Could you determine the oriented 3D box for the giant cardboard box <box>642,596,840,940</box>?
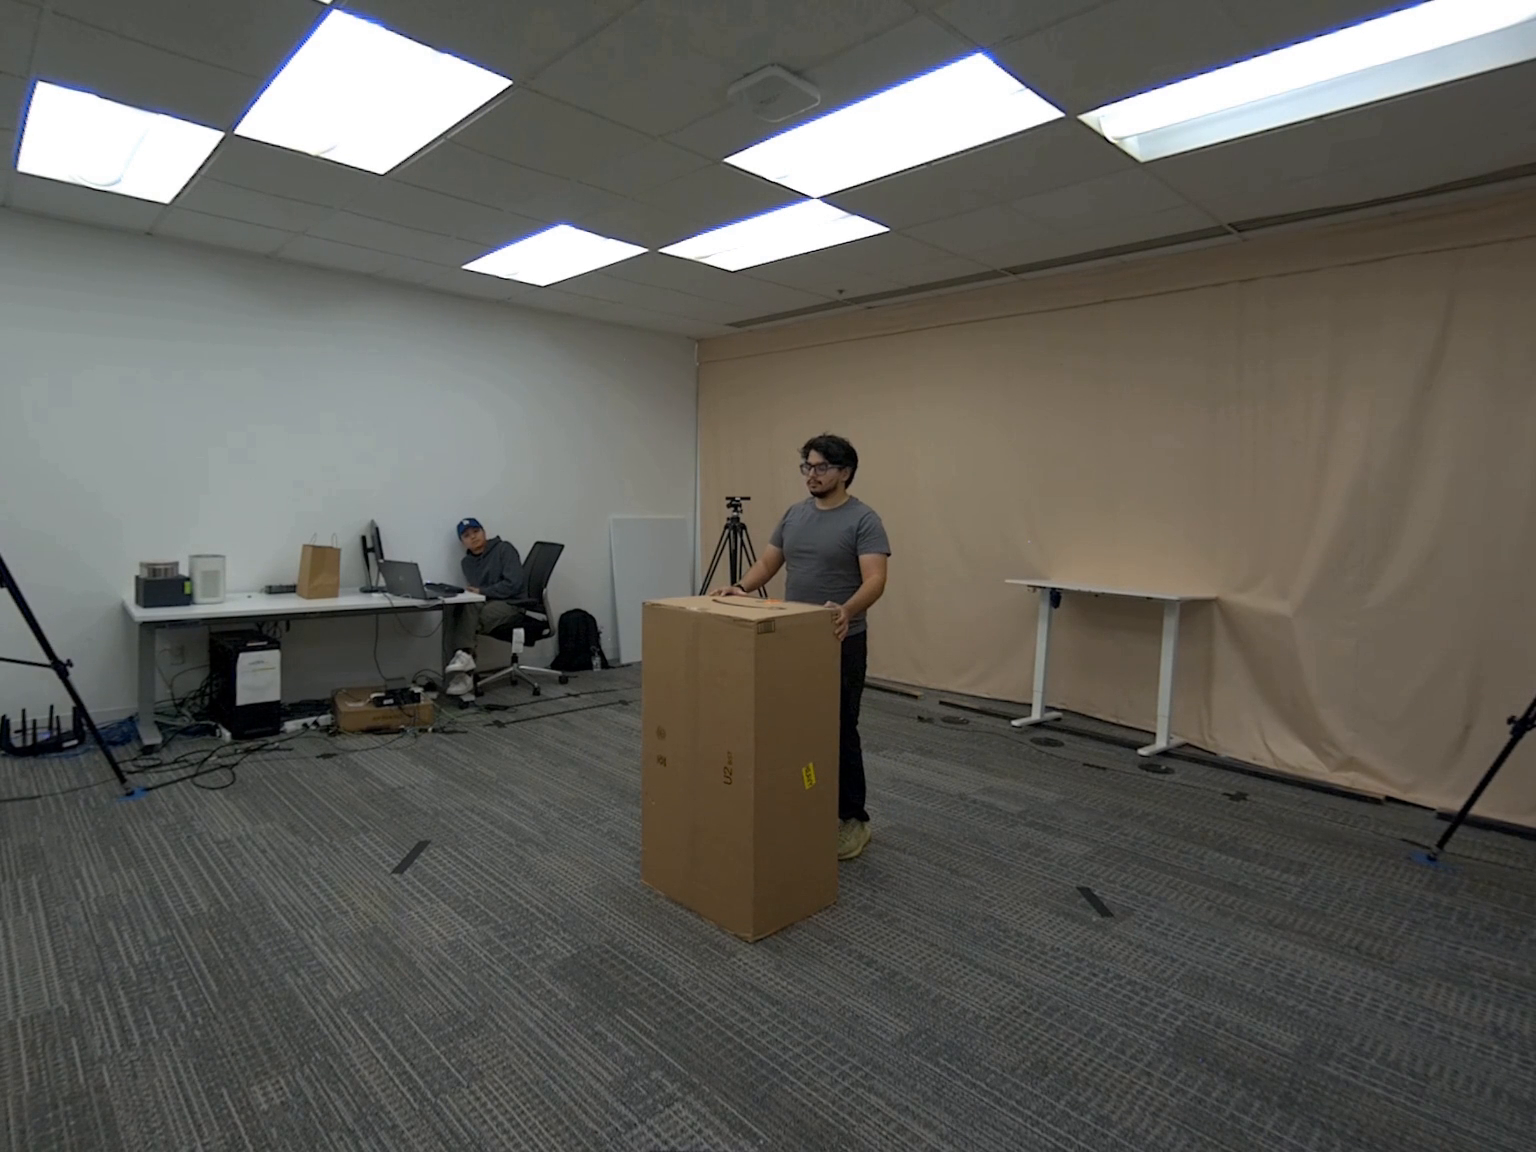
[{"bbox_3d":[-0.108,0.614,2.953,0.416,1.023,0.592,-2,4,-44],"label":"giant cardboard box"}]
